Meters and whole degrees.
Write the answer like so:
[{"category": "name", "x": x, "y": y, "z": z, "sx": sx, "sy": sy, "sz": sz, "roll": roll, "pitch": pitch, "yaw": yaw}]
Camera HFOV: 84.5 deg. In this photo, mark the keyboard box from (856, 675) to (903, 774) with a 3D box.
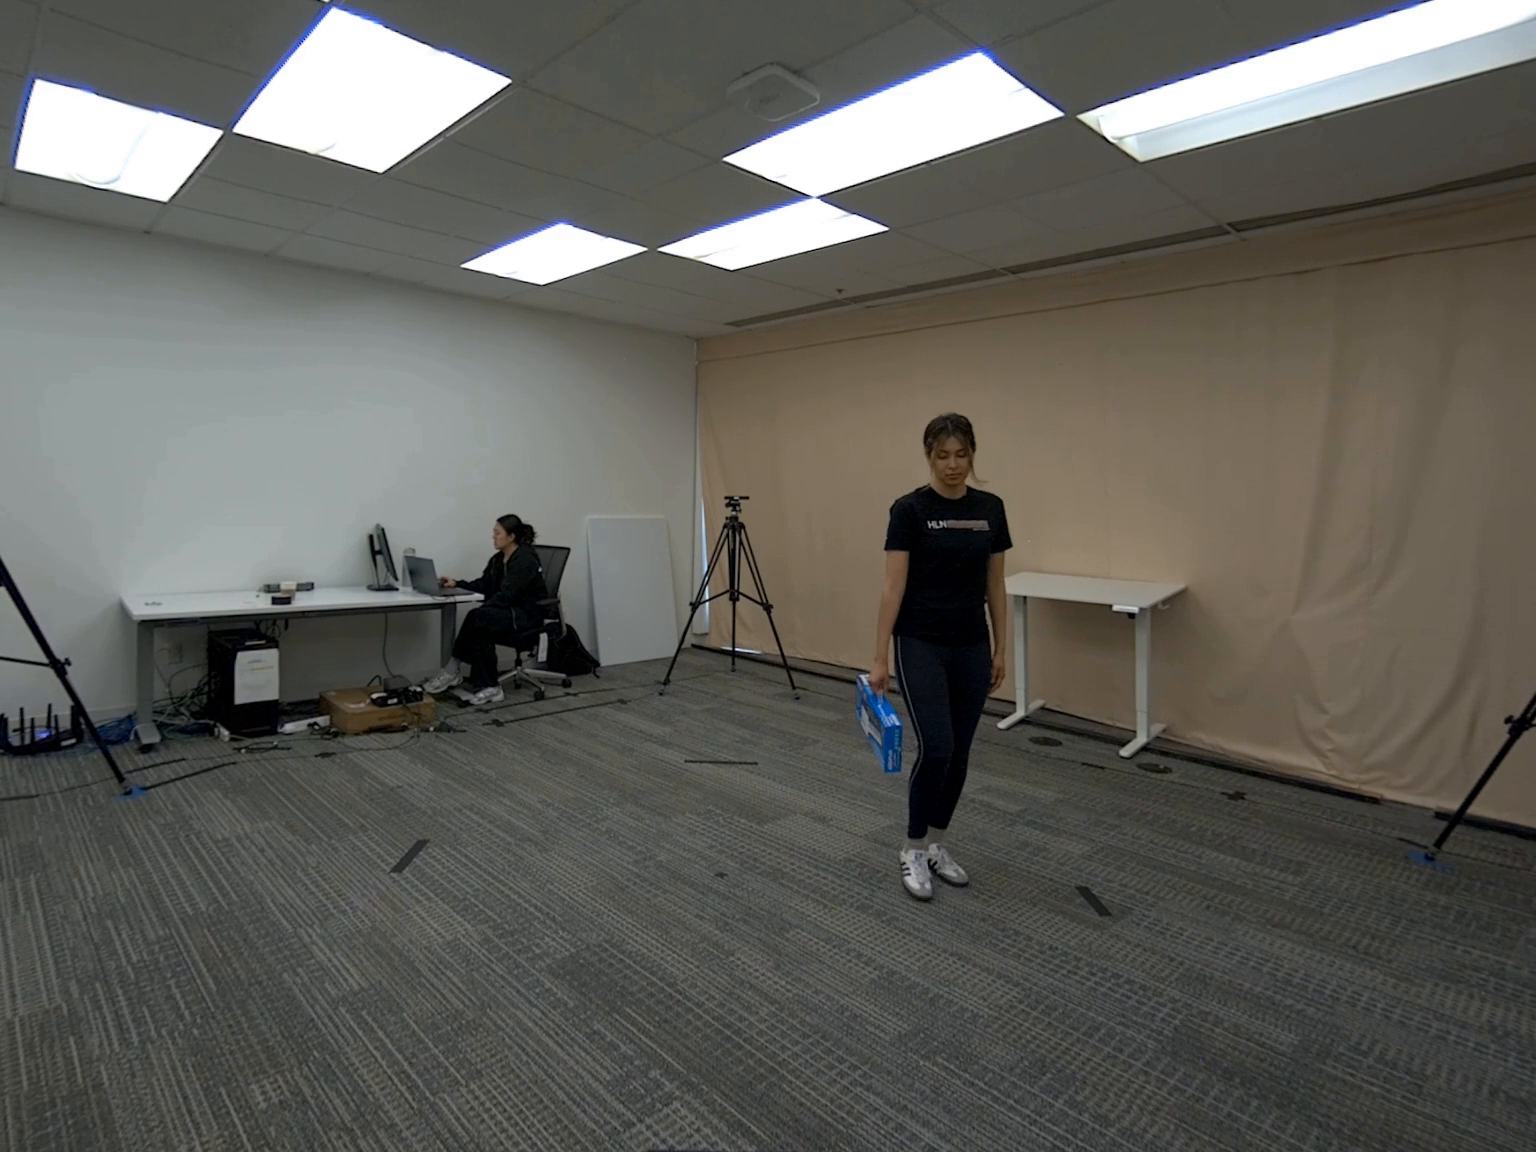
[{"category": "keyboard box", "x": 0.382, "y": 0.514, "z": 3.002, "sx": 0.059, "sy": 0.174, "sz": 0.443, "roll": -3, "pitch": 15, "yaw": -6}]
